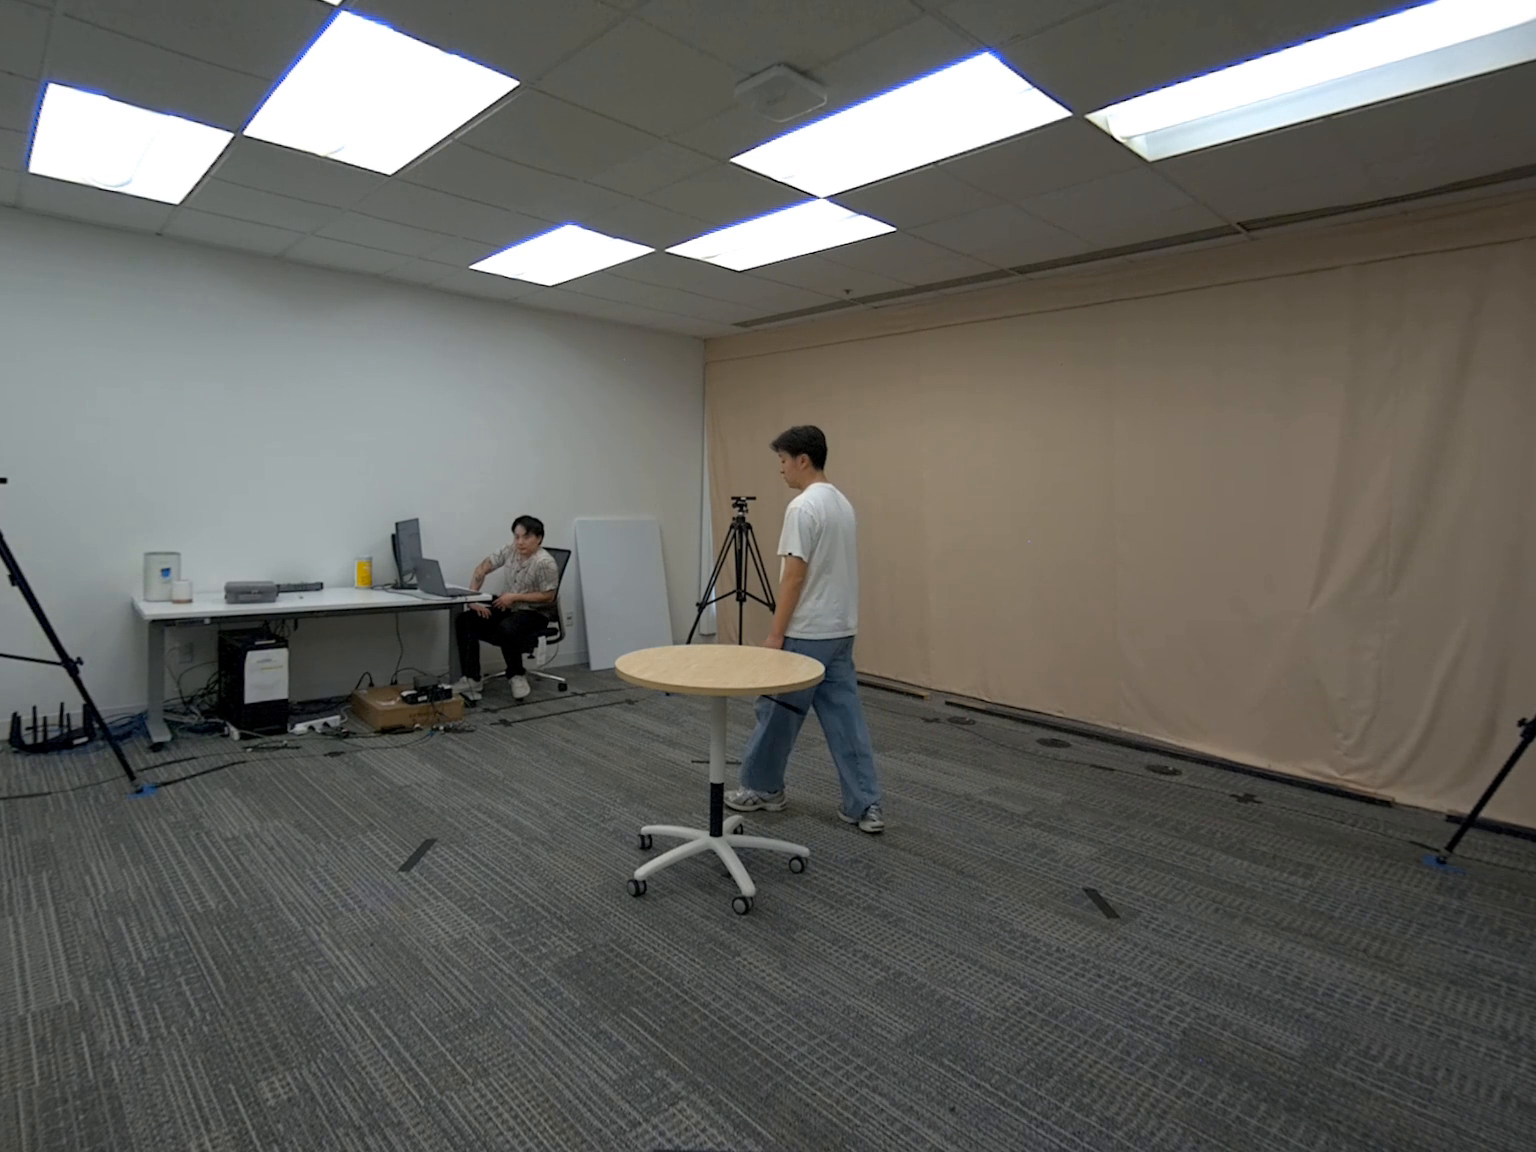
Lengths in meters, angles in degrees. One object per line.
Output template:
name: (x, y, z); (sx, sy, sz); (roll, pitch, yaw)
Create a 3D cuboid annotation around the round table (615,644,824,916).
round table: (-0.193, 0.716, 3.106); (0.763, 0.792, 0.767); (1, 4, -1)
